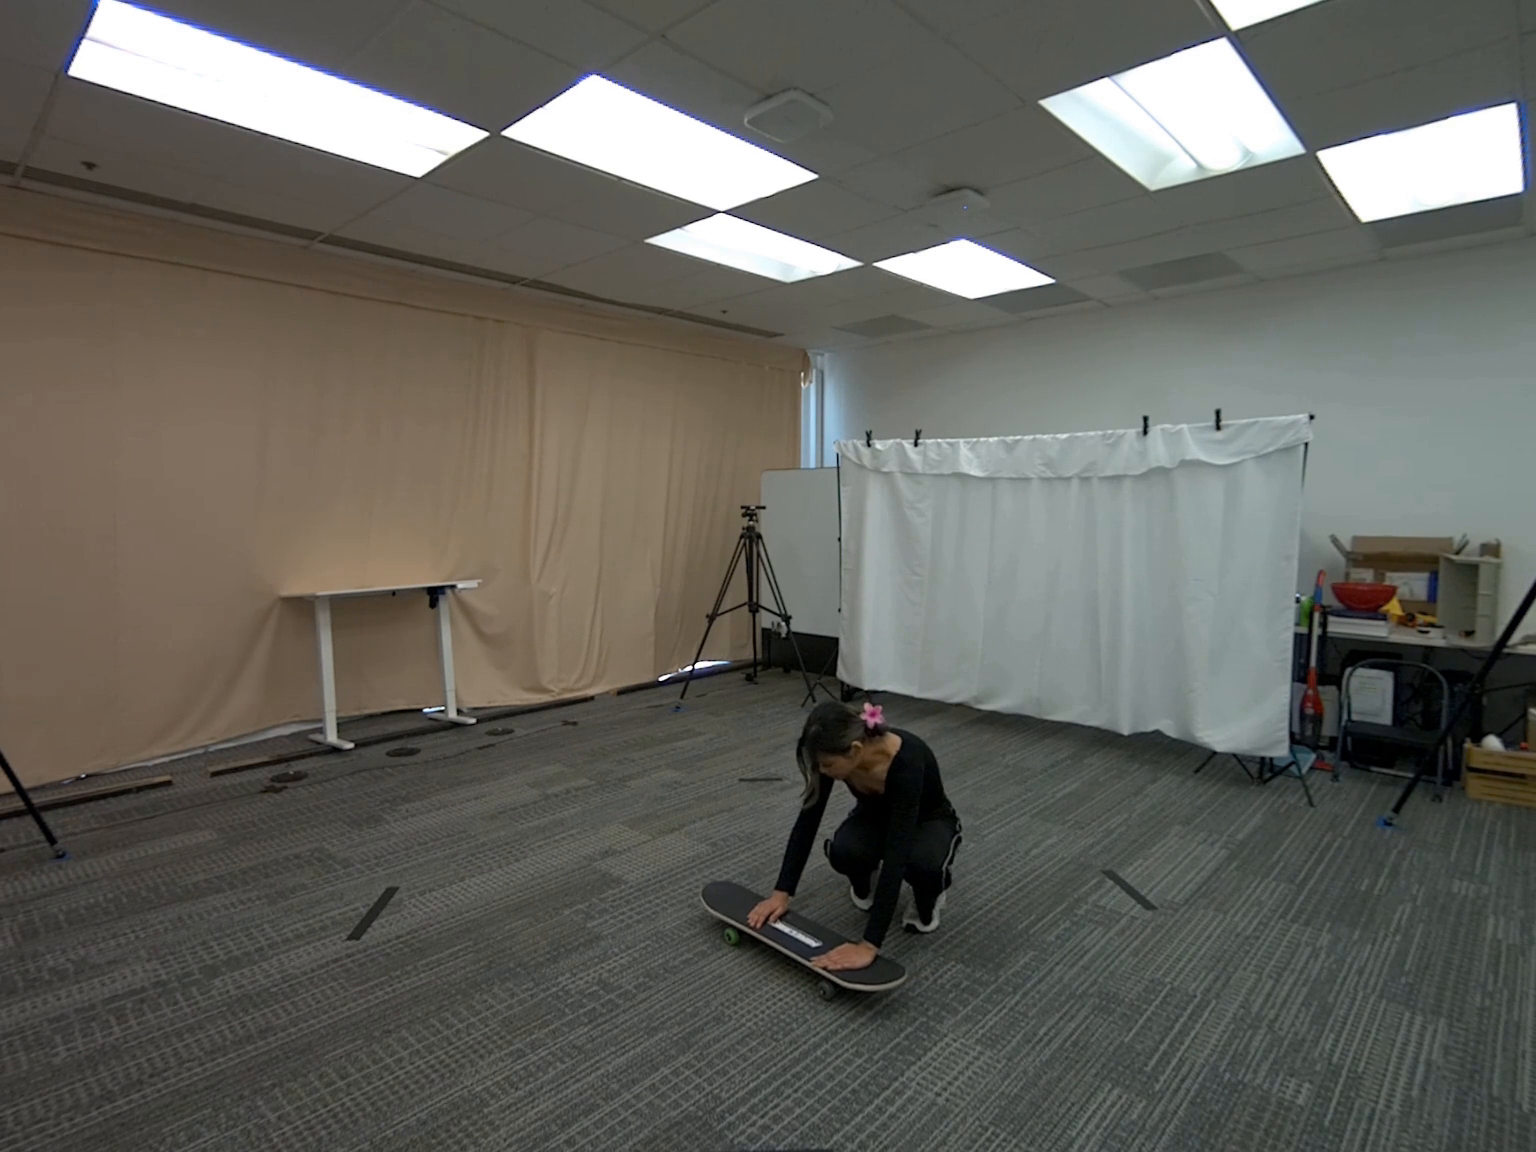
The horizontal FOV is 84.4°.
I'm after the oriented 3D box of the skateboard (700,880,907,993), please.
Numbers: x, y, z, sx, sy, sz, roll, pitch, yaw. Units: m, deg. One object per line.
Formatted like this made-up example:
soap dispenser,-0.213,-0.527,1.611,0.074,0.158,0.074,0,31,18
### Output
skateboard,0.079,1.125,2.580,0.188,0.110,0.812,-5,7,-42
